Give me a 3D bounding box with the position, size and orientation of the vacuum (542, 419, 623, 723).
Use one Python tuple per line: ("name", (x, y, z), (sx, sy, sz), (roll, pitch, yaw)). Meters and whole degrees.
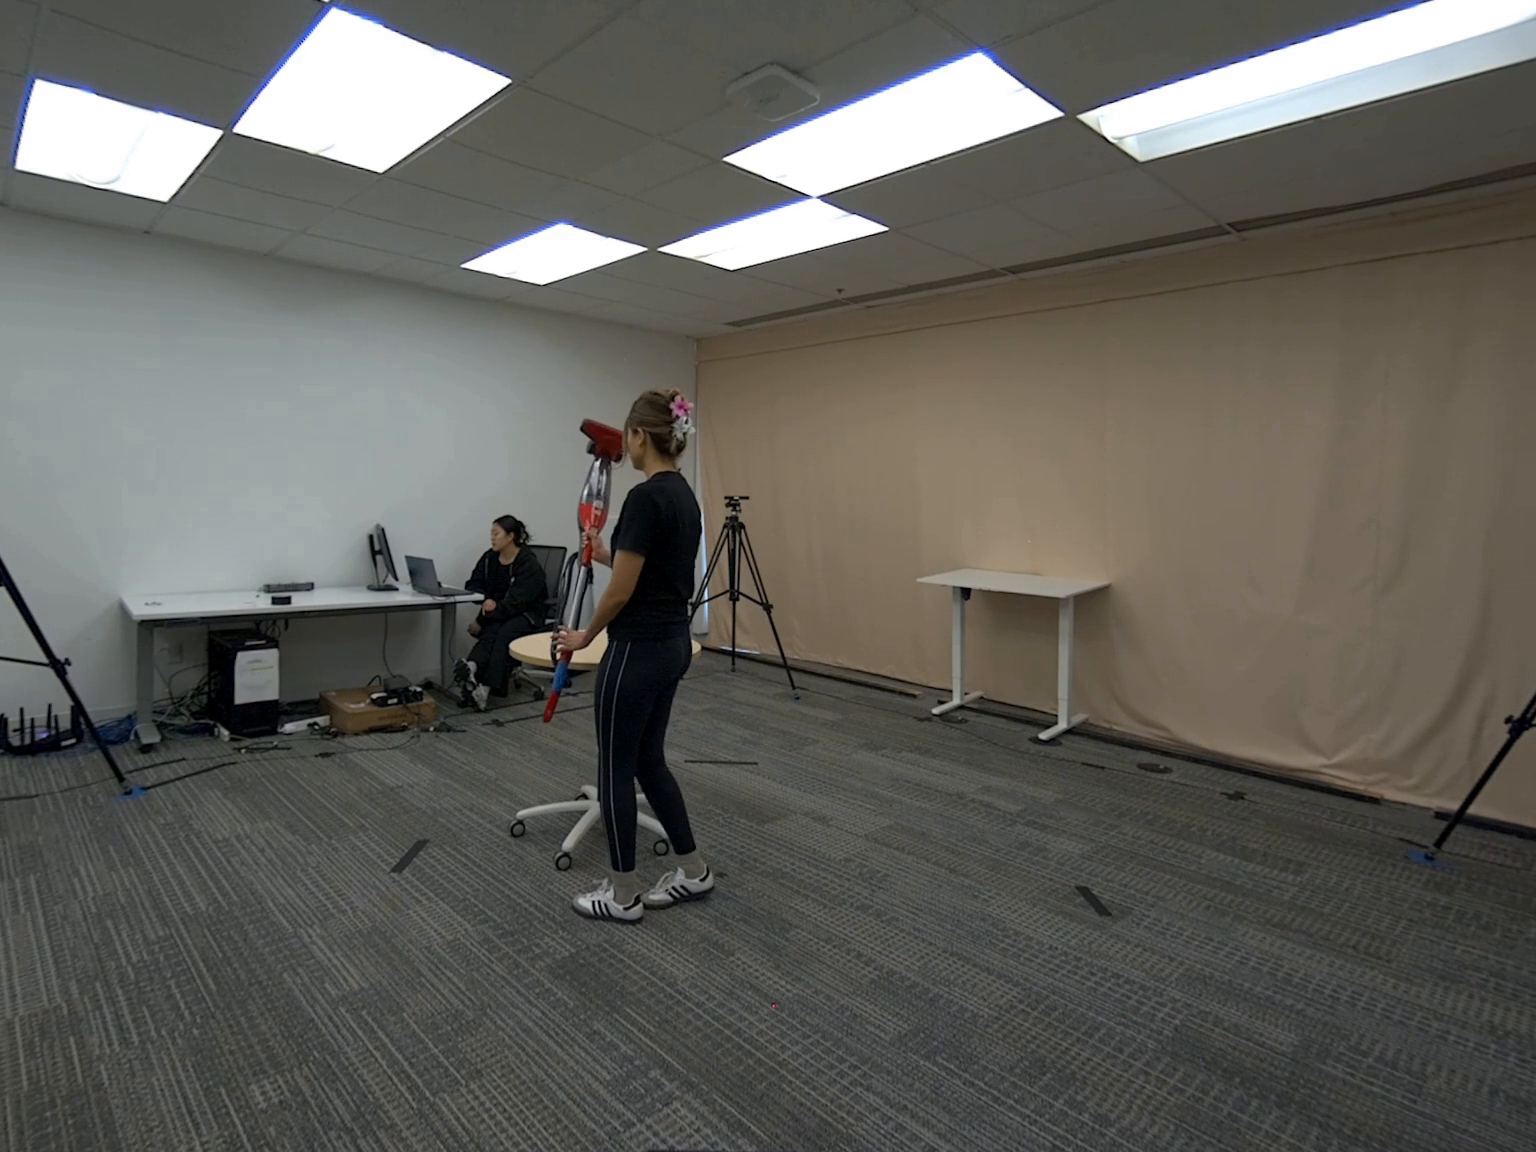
("vacuum", (-0.667, -0.014, 2.958), (0.247, 1.061, 0.145), (18, -22, -22))
